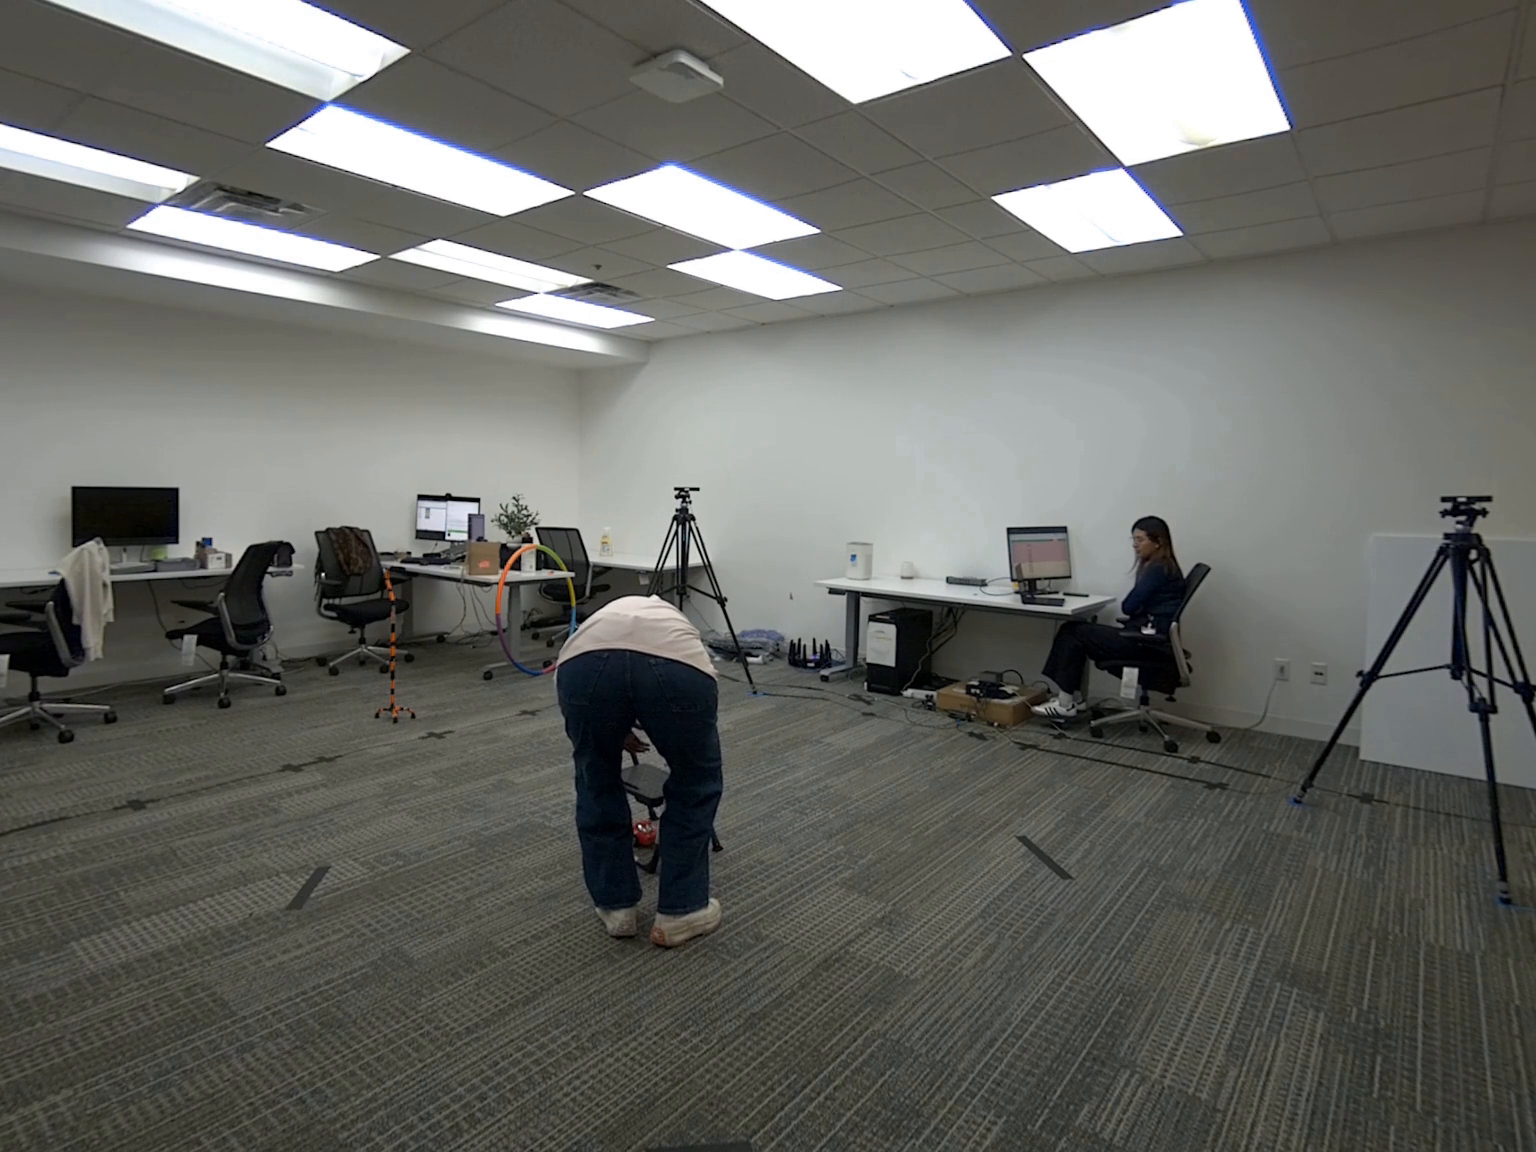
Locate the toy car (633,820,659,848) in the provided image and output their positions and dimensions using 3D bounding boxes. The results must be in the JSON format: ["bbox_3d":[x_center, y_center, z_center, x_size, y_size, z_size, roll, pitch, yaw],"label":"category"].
[{"bbox_3d":[-0.526,0.999,3.343,0.261,0.083,0.126,-8,-2,39],"label":"toy car"}]
